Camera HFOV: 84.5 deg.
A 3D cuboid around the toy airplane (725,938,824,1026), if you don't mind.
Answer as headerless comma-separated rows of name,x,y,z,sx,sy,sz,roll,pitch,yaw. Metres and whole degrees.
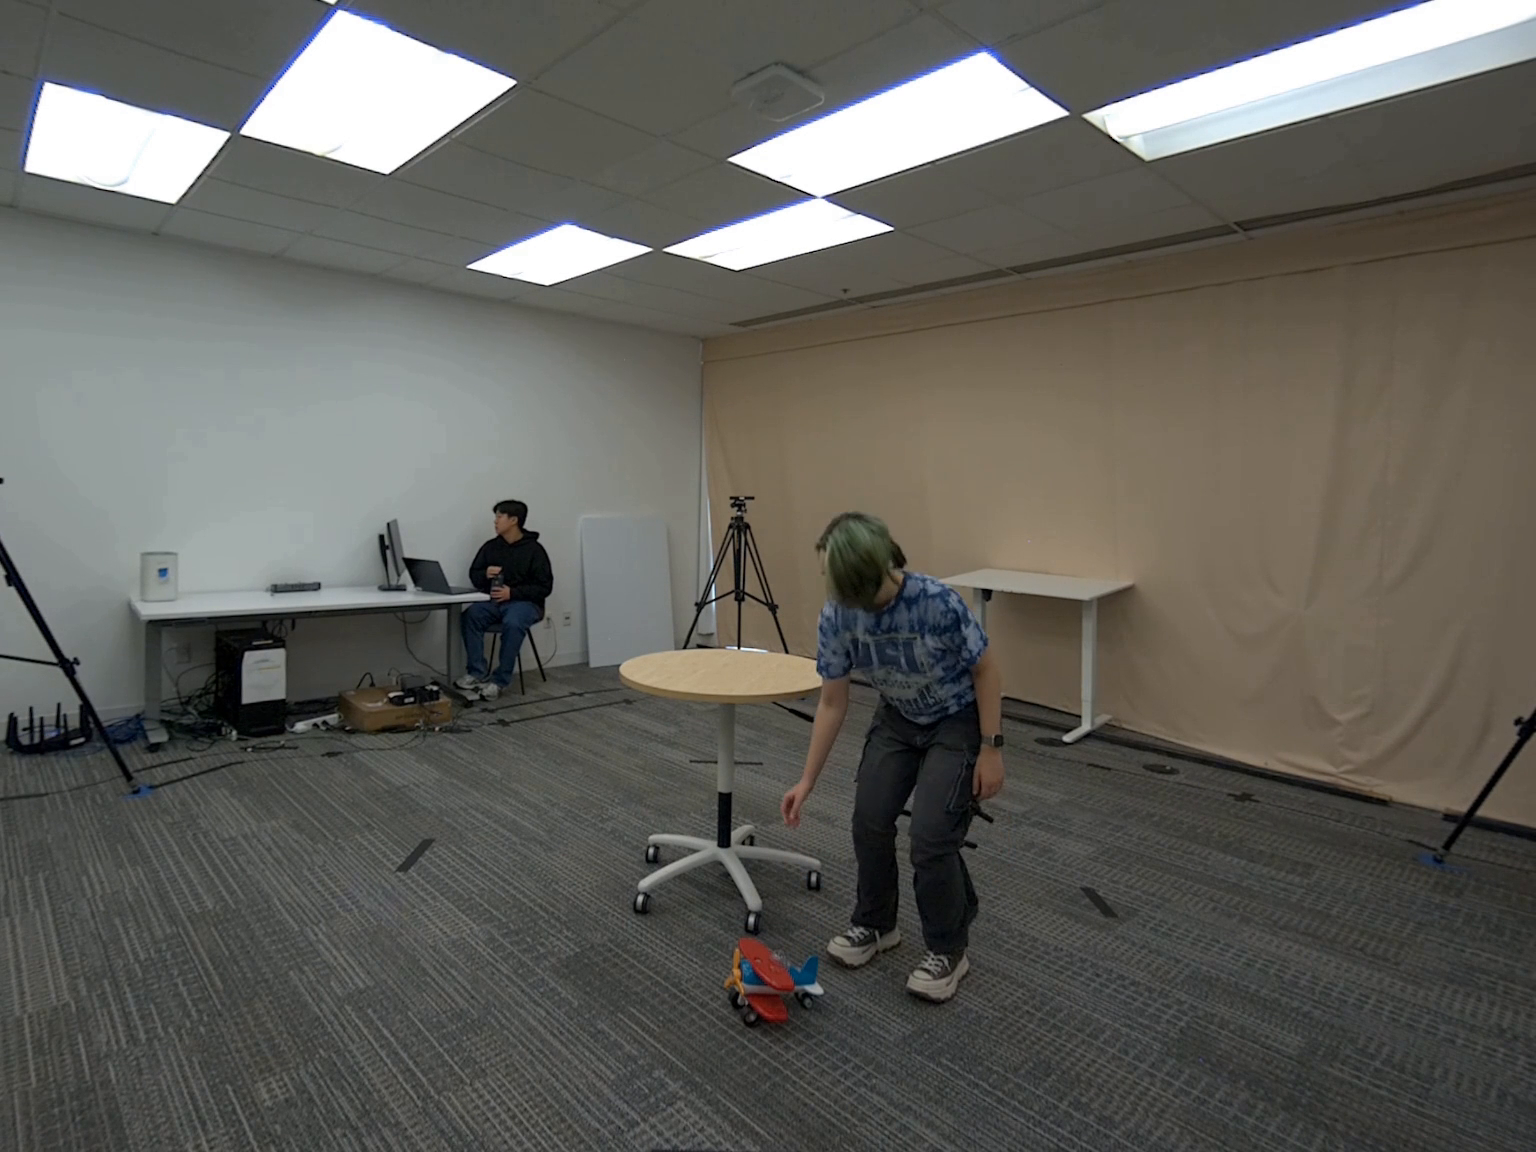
toy airplane,0.003,1.105,2.302,0.257,0.156,0.254,5,7,38
